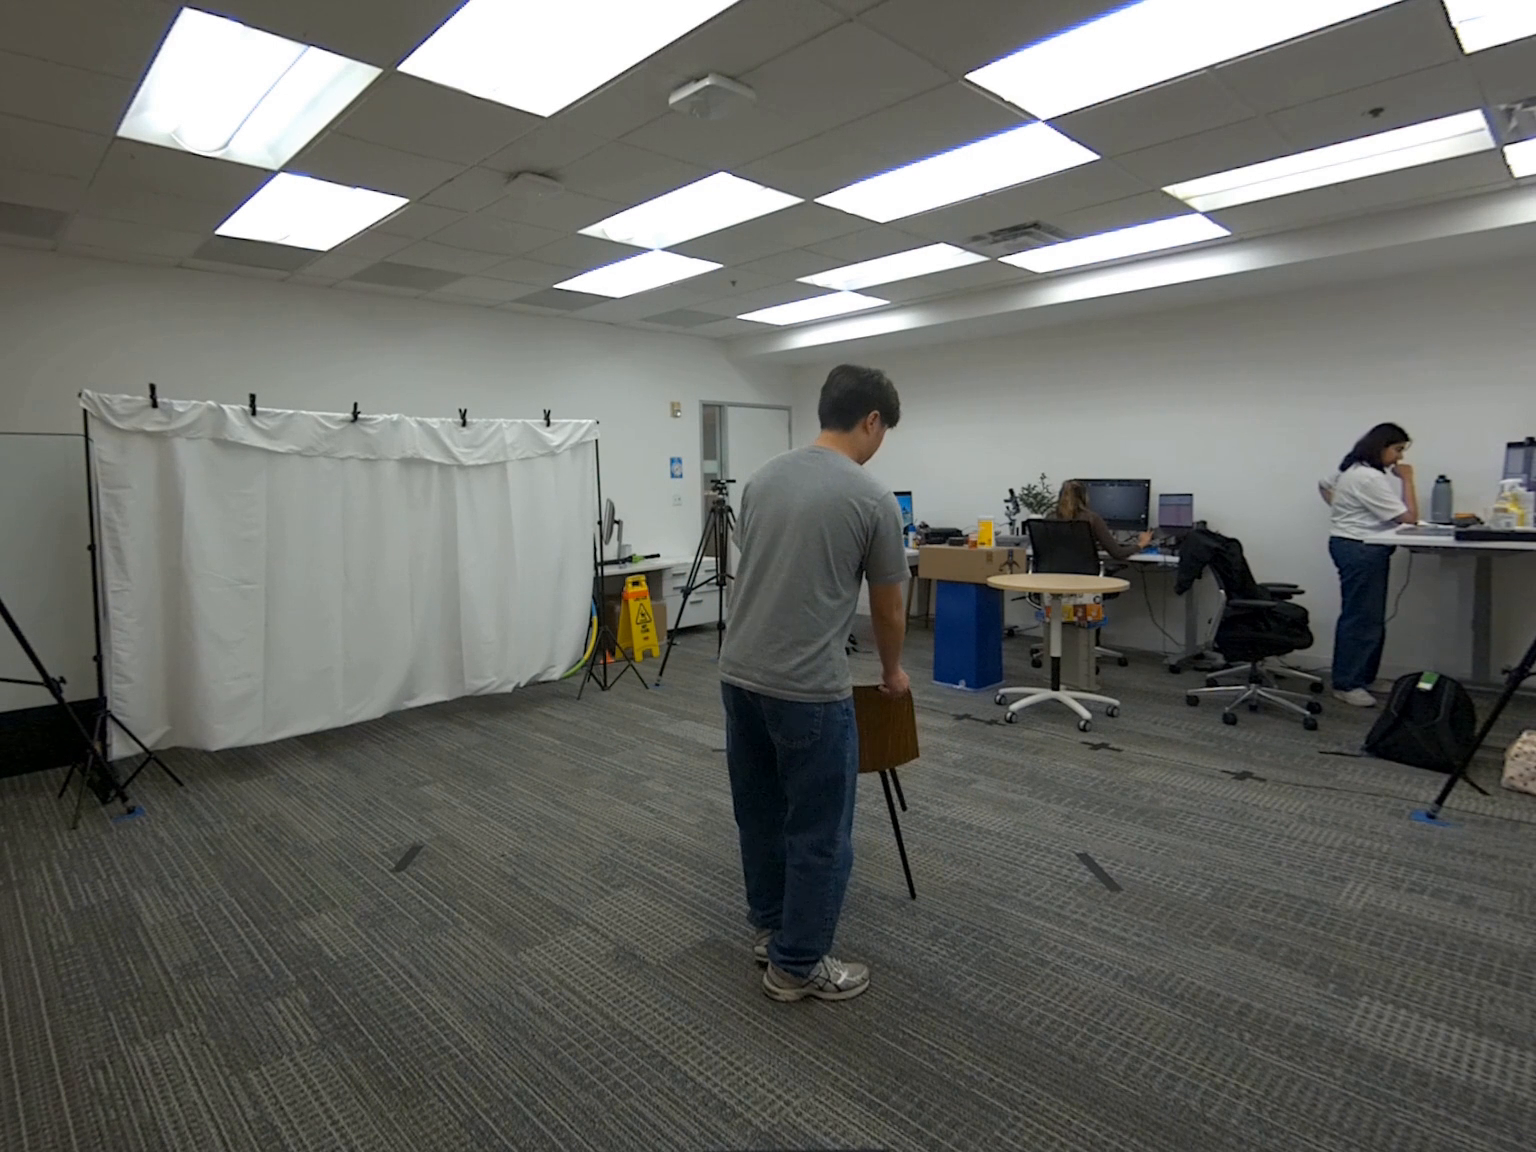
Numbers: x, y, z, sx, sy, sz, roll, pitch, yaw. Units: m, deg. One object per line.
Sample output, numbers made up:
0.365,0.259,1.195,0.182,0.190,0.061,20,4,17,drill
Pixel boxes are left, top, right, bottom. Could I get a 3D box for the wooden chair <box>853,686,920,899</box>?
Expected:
0.272,0.586,2.926,0.482,0.857,0.531,-1,26,7,wooden chair
